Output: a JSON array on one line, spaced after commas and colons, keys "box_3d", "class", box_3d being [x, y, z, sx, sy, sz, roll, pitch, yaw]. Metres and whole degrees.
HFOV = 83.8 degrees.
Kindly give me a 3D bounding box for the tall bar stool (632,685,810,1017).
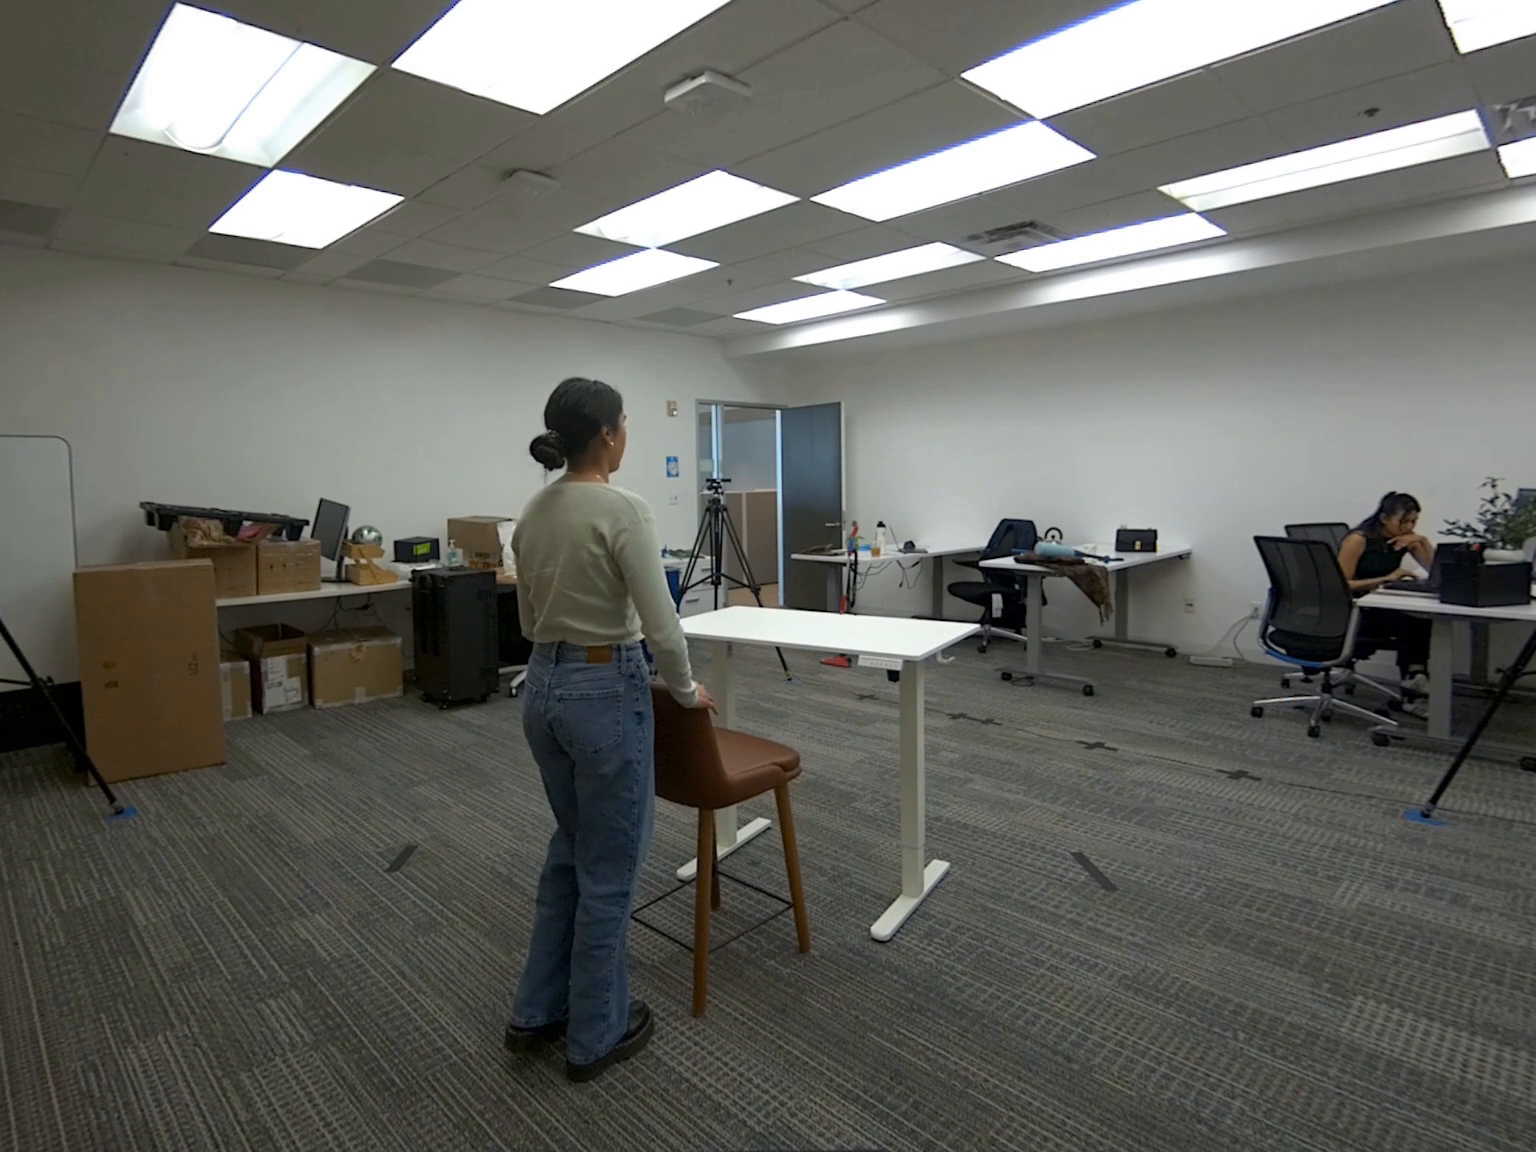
[{"box_3d": [-0.177, 0.680, 2.478, 0.470, 0.884, 0.456, 4, 9, 45], "class": "tall bar stool"}]
